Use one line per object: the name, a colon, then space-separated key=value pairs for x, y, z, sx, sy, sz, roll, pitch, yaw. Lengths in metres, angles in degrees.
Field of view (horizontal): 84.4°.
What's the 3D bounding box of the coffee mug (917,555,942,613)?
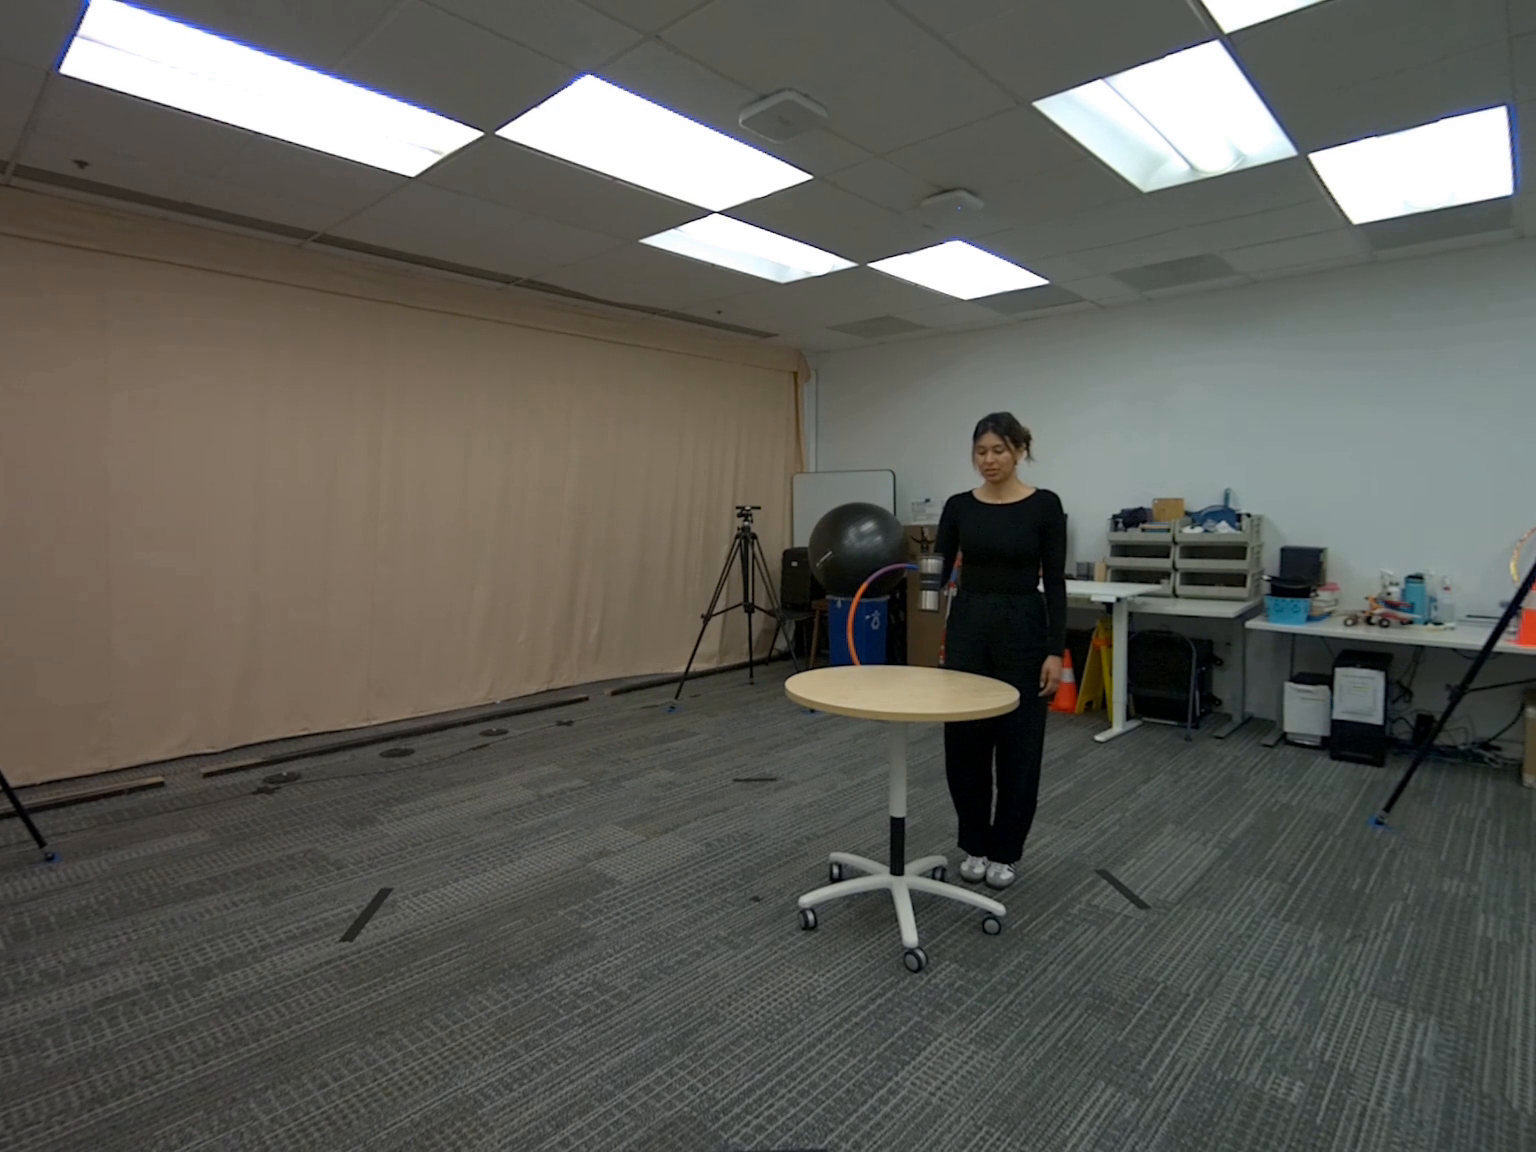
coffee mug: x=0.565 y=0.030 z=2.871 sx=0.090 sy=0.203 sz=0.118 roll=-5 pitch=-6 yaw=44
